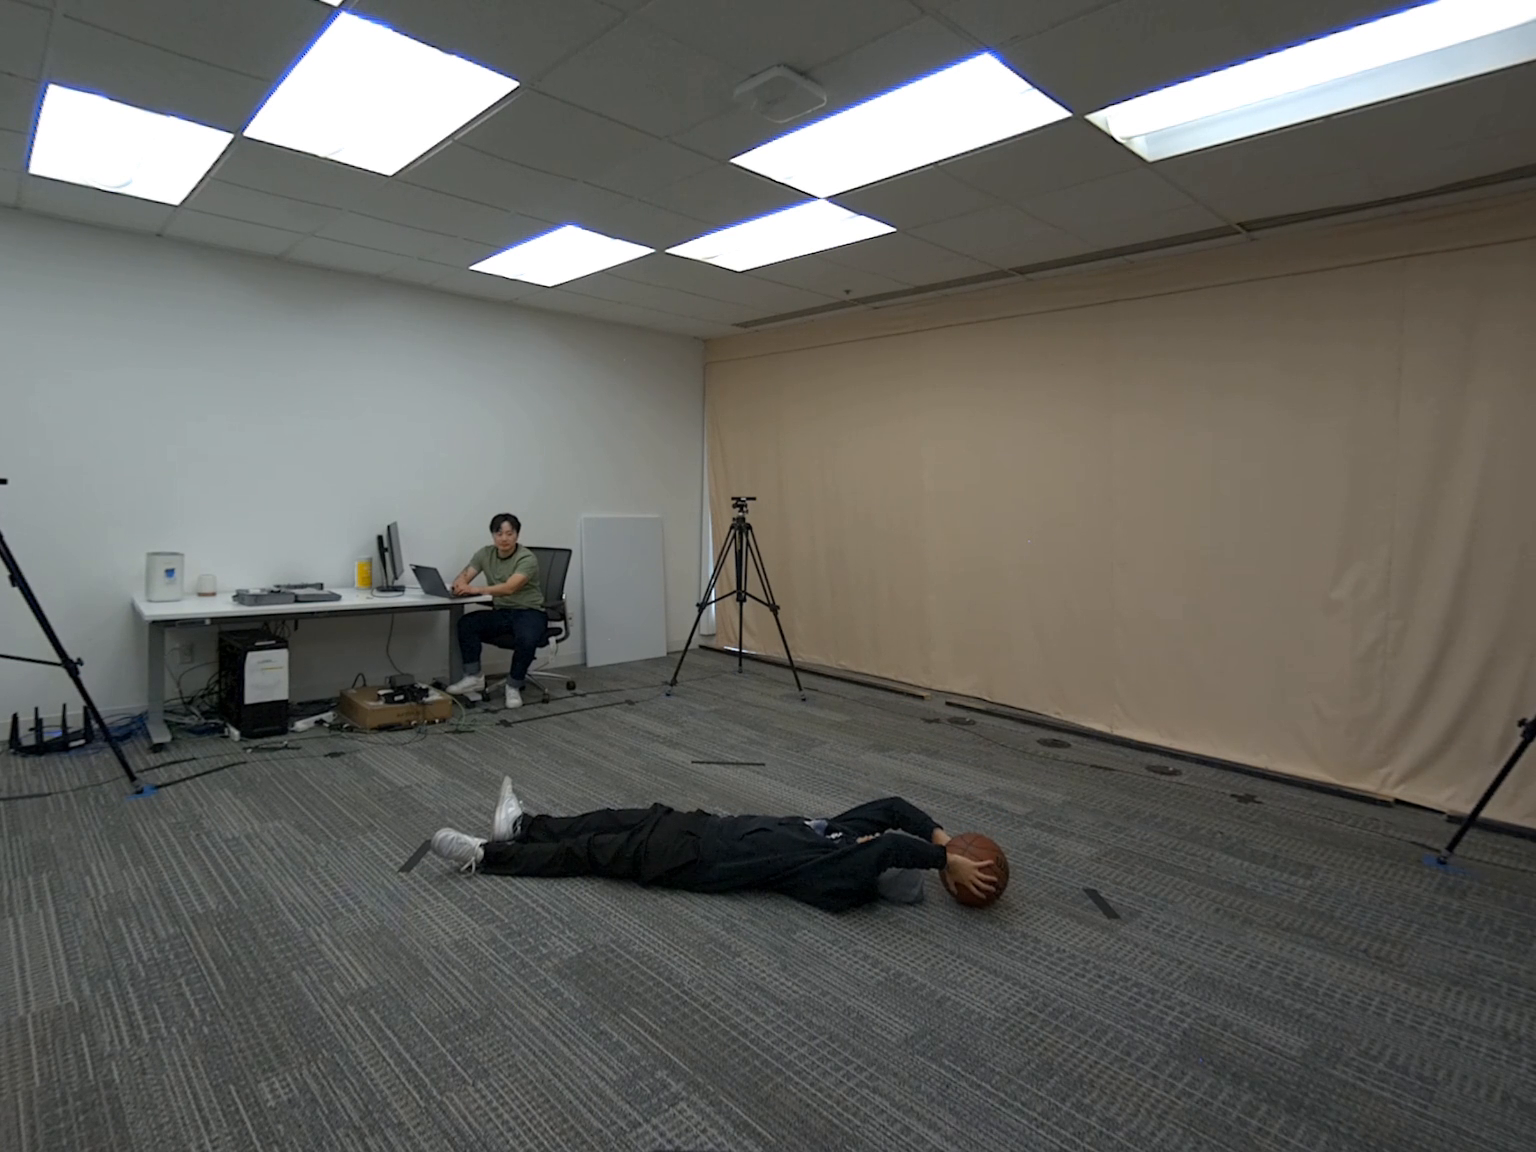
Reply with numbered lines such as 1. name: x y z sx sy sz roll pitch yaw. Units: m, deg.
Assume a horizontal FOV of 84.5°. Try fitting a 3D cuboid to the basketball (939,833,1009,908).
1. basketball: 0.720 1.024 2.936 0.236 0.235 0.237 1 4 -1
